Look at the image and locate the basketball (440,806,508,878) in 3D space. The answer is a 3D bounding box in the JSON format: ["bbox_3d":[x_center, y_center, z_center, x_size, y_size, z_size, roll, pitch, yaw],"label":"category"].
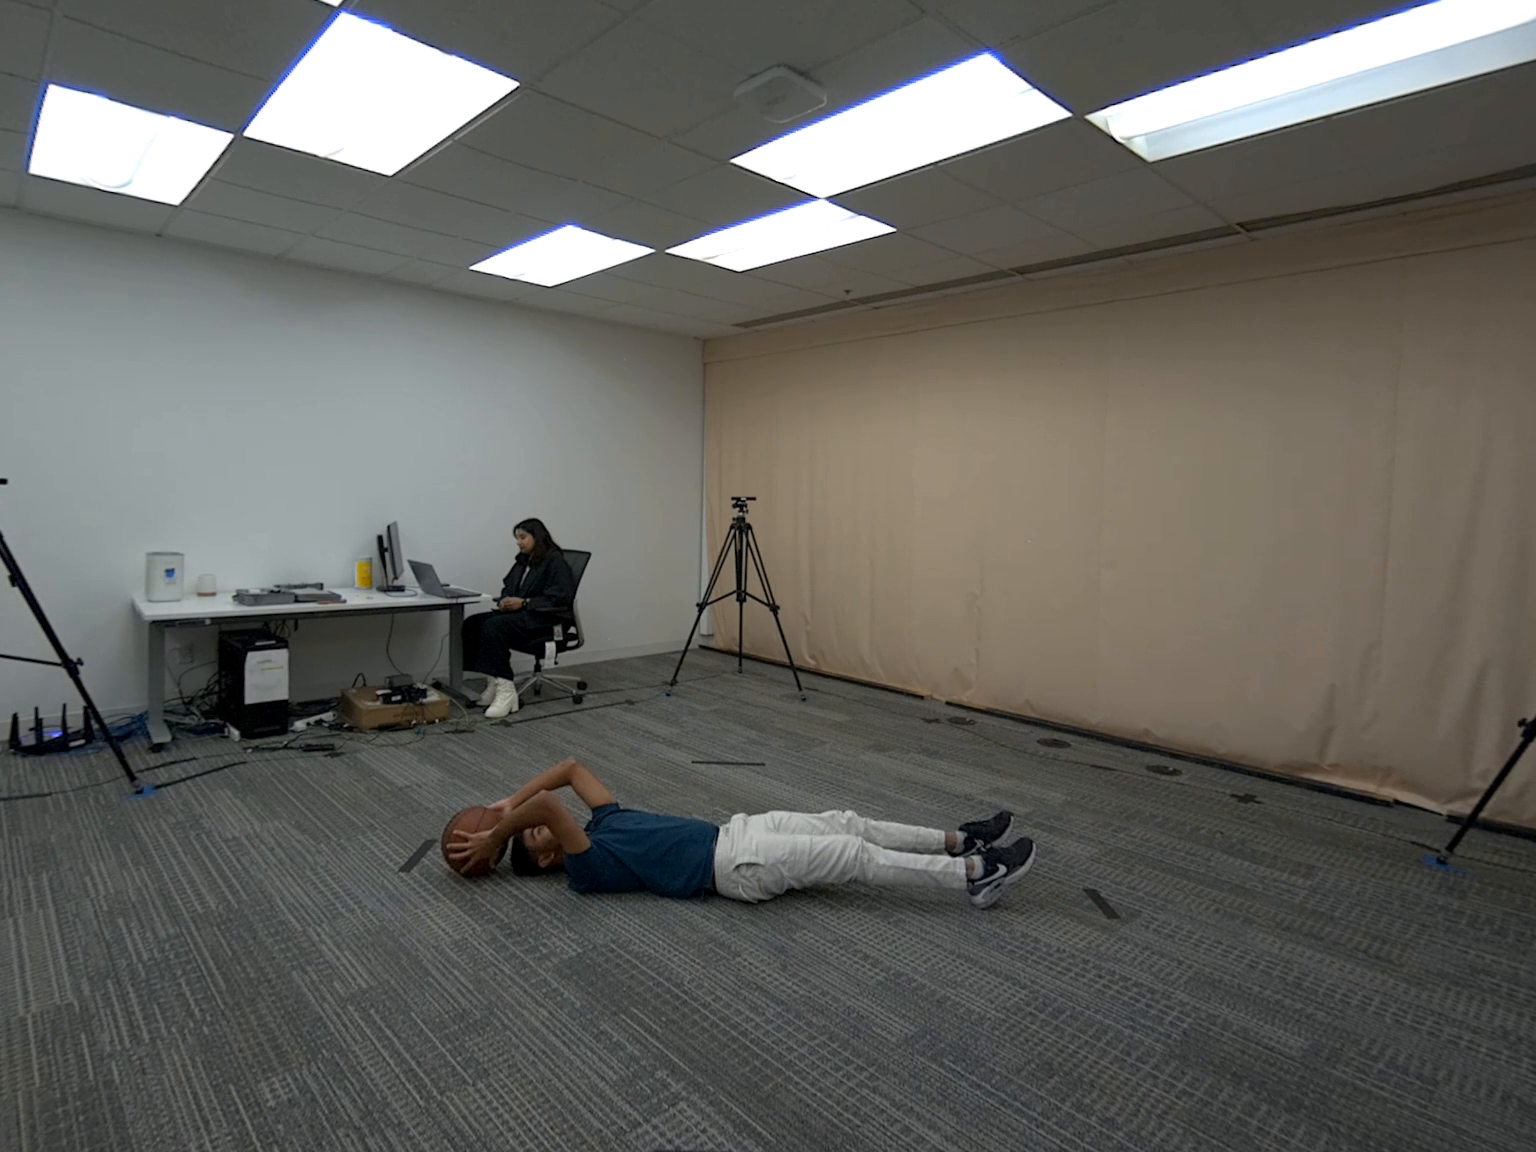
[{"bbox_3d":[-1.085,0.969,3.075,0.236,0.235,0.237,1,4,-1],"label":"basketball"}]
